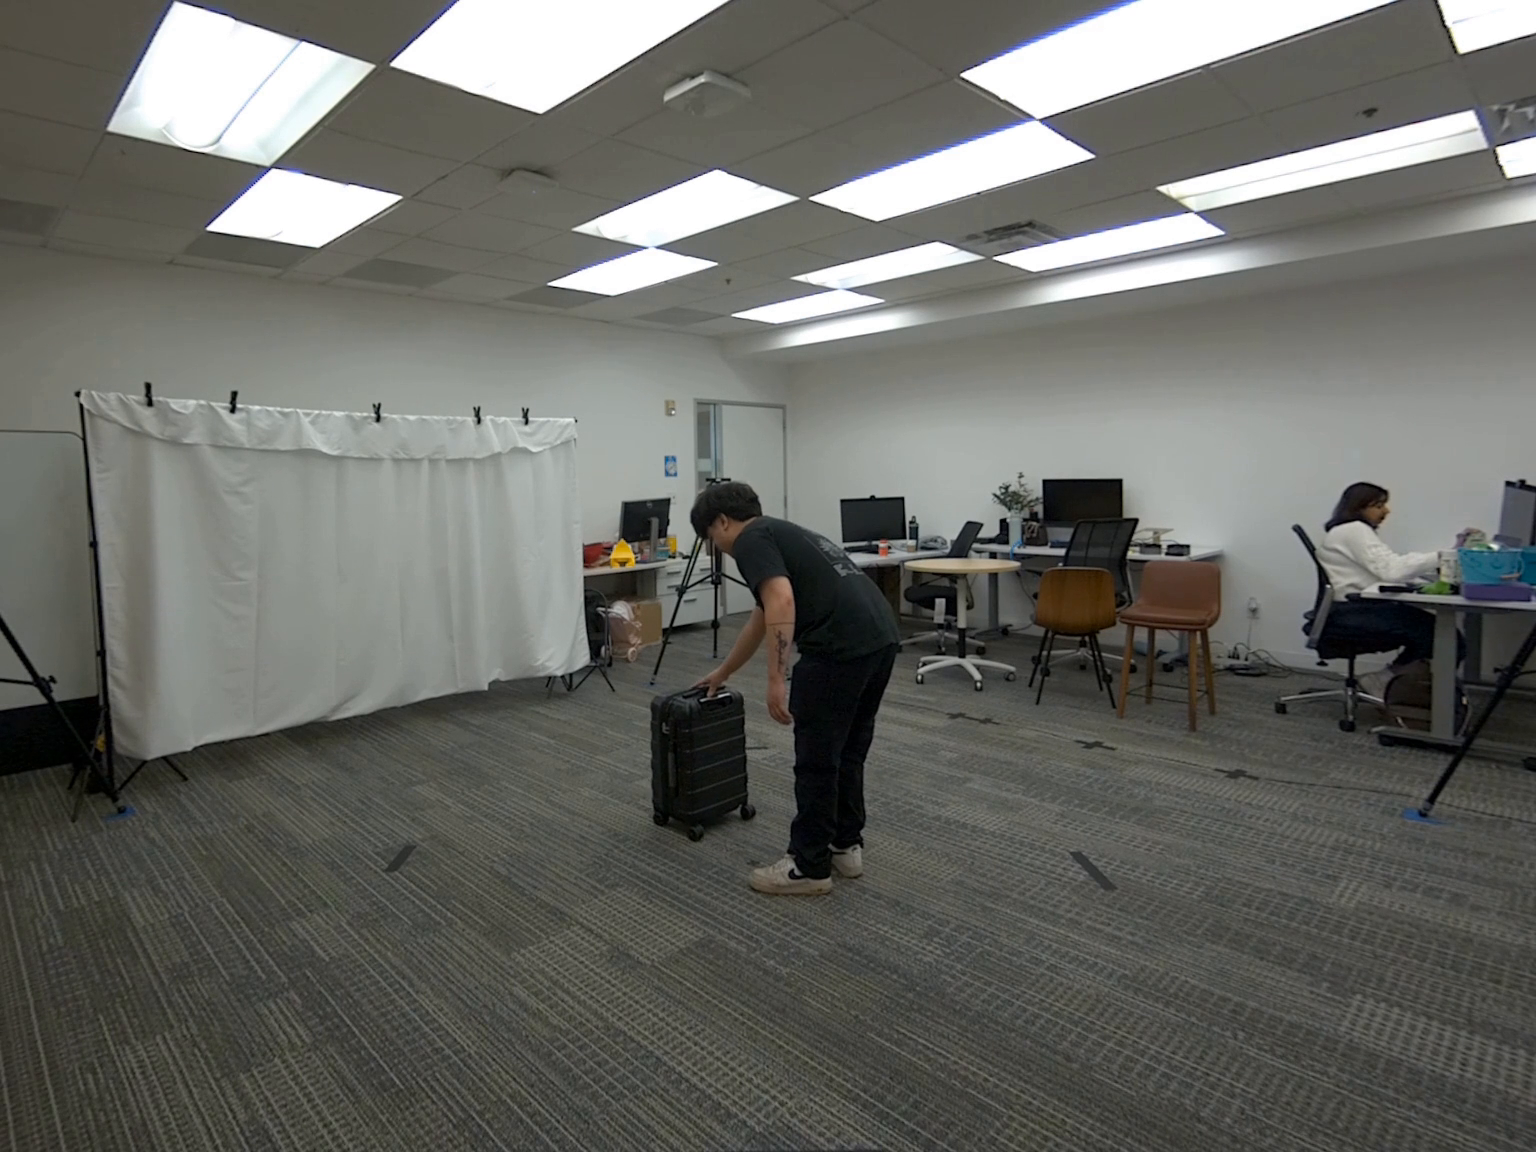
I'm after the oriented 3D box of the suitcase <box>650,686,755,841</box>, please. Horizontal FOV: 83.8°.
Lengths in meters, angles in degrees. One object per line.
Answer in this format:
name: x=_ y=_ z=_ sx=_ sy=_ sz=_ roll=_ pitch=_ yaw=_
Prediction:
suitcase: x=-0.277 y=0.728 z=3.487 sx=0.365 sy=0.548 sz=0.255 roll=-5 pitch=4 yaw=-44
